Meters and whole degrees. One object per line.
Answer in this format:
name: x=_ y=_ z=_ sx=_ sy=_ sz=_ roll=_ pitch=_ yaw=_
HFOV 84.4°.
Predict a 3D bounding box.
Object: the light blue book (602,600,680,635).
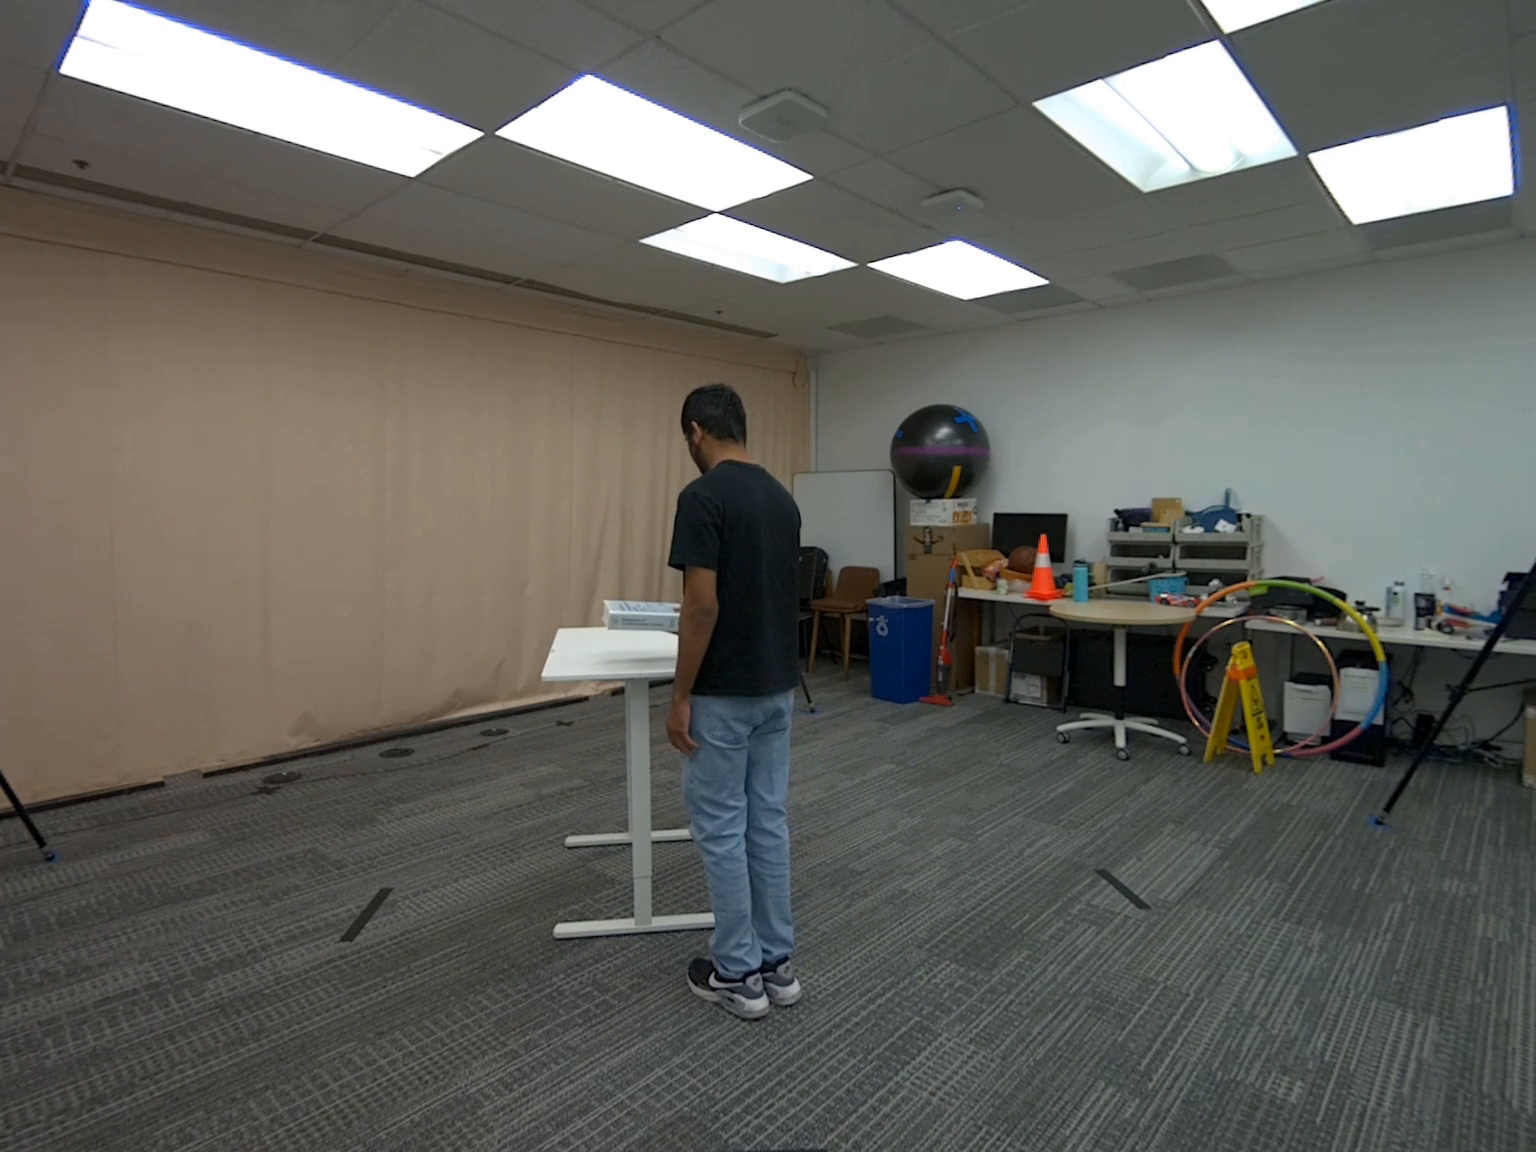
light blue book: x=-0.403 y=0.137 z=2.766 sx=0.258 sy=0.059 sz=0.194 roll=3 pitch=7 yaw=-11
